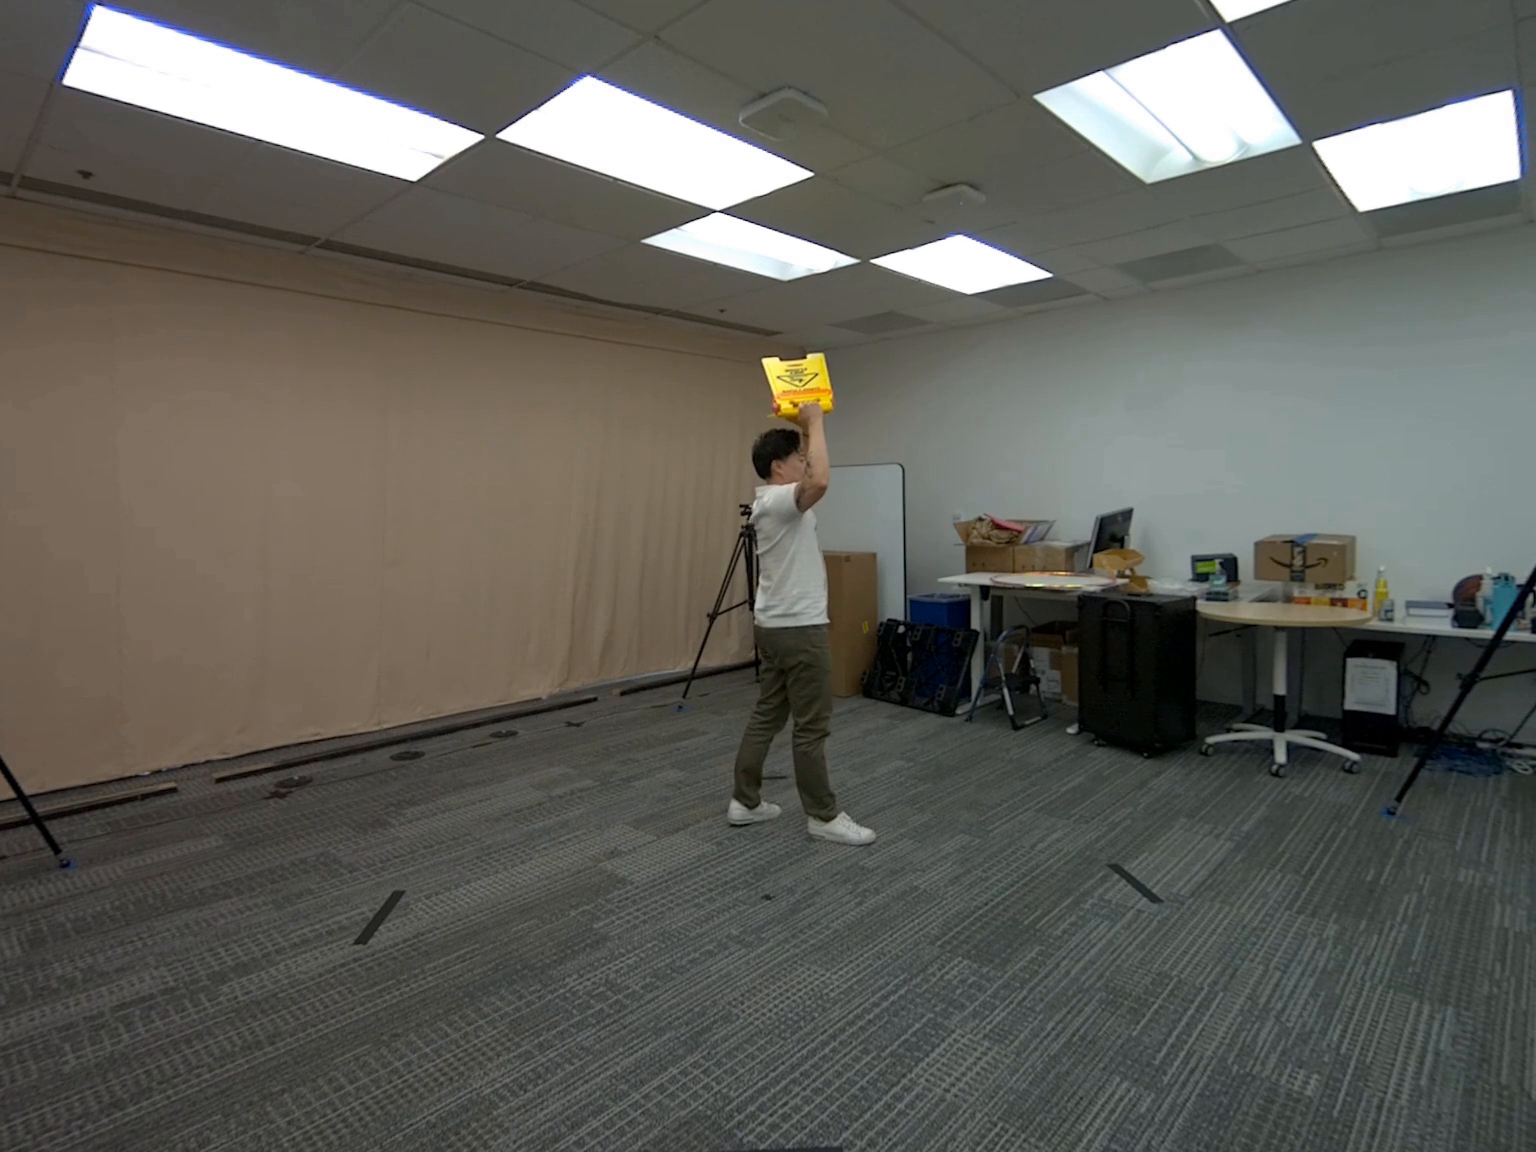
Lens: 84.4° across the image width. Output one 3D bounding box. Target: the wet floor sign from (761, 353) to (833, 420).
[{"bbox_3d":[0.145,-0.754,3.552,0.282,0.286,0.654,-6,21,0],"label":"wet floor sign"}]
